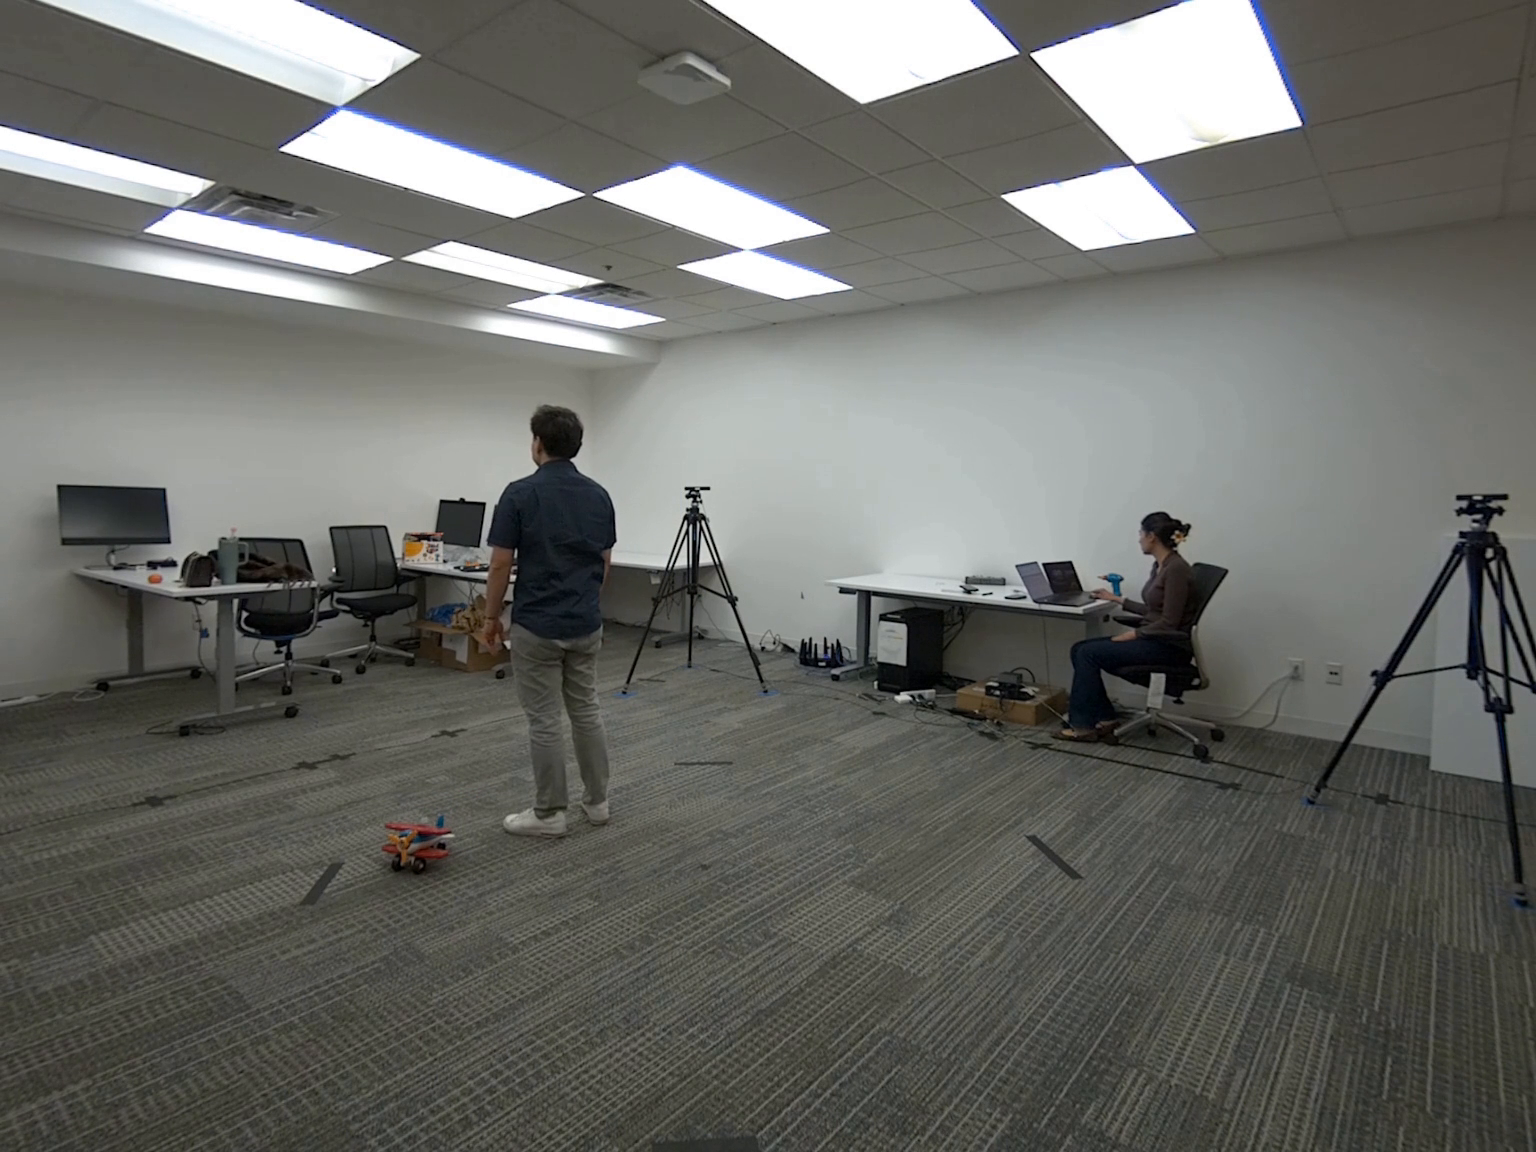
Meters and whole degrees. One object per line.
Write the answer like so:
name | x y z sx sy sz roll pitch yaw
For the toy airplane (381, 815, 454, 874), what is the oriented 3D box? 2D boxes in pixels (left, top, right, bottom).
toy airplane | -1.306 0.976 3.130 0.247 0.156 0.264 -1 6 -15
